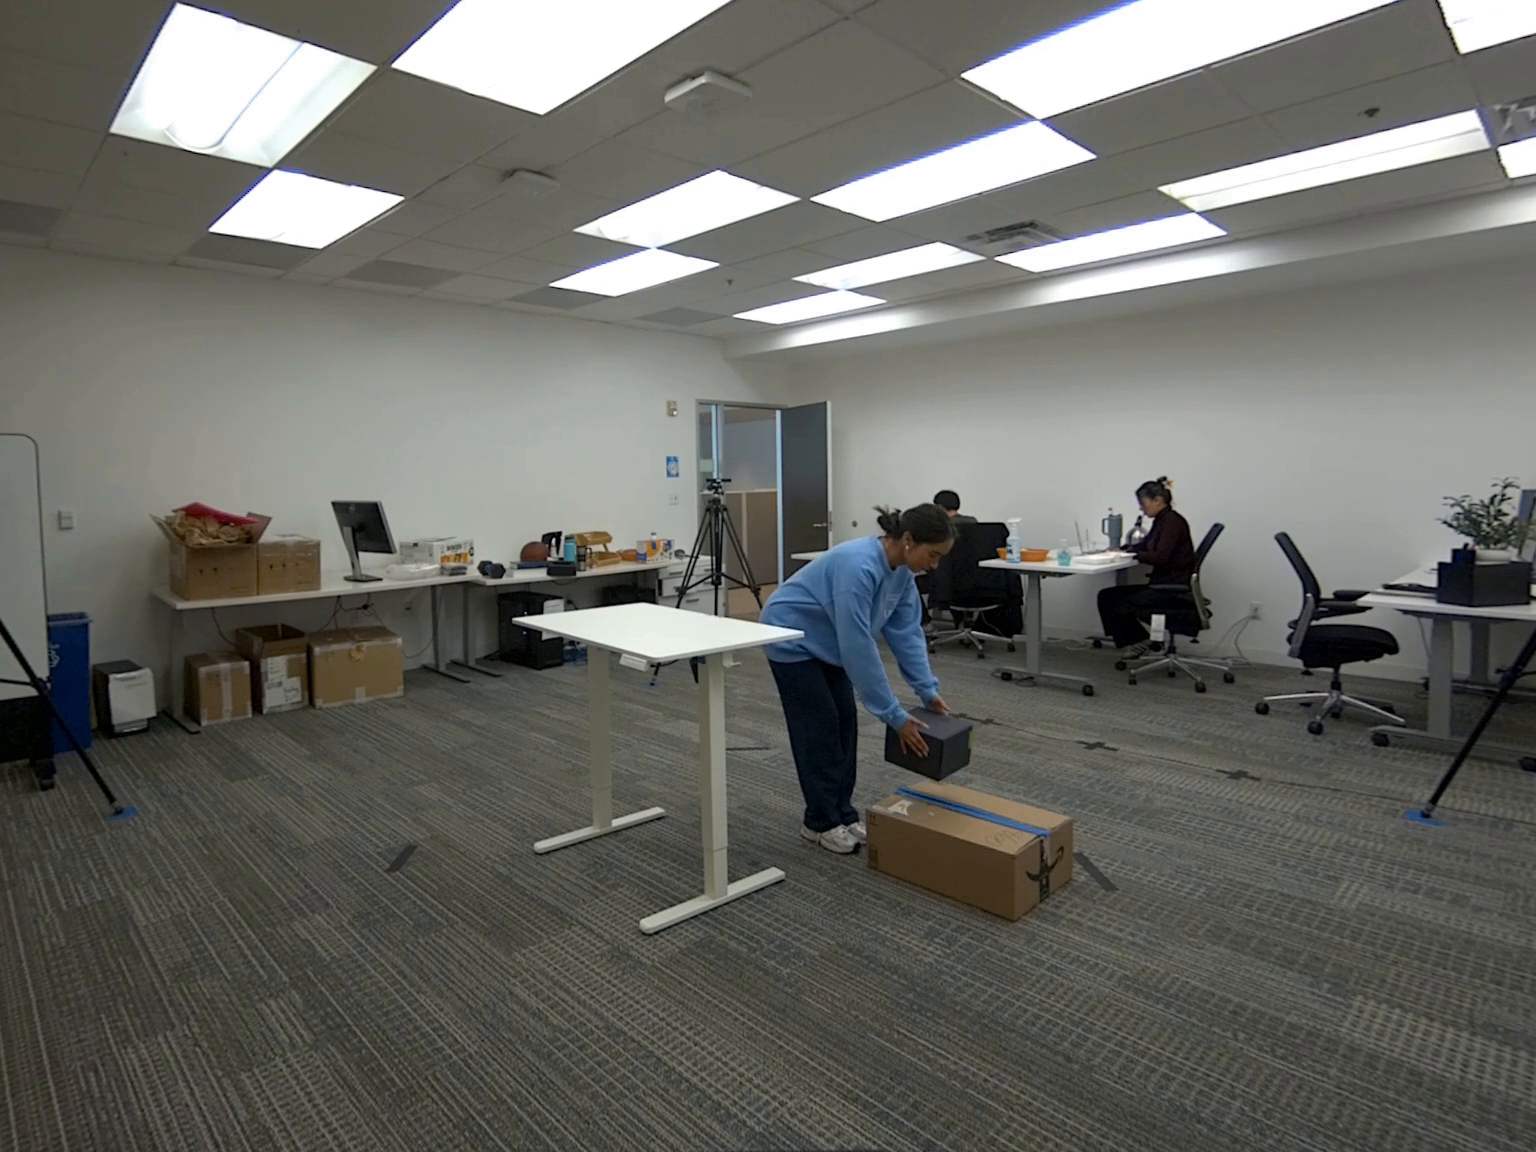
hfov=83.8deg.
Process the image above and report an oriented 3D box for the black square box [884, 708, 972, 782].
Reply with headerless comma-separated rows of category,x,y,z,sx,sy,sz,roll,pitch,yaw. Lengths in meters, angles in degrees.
black square box,0.574,0.600,3.079,0.236,0.155,0.211,12,13,42
